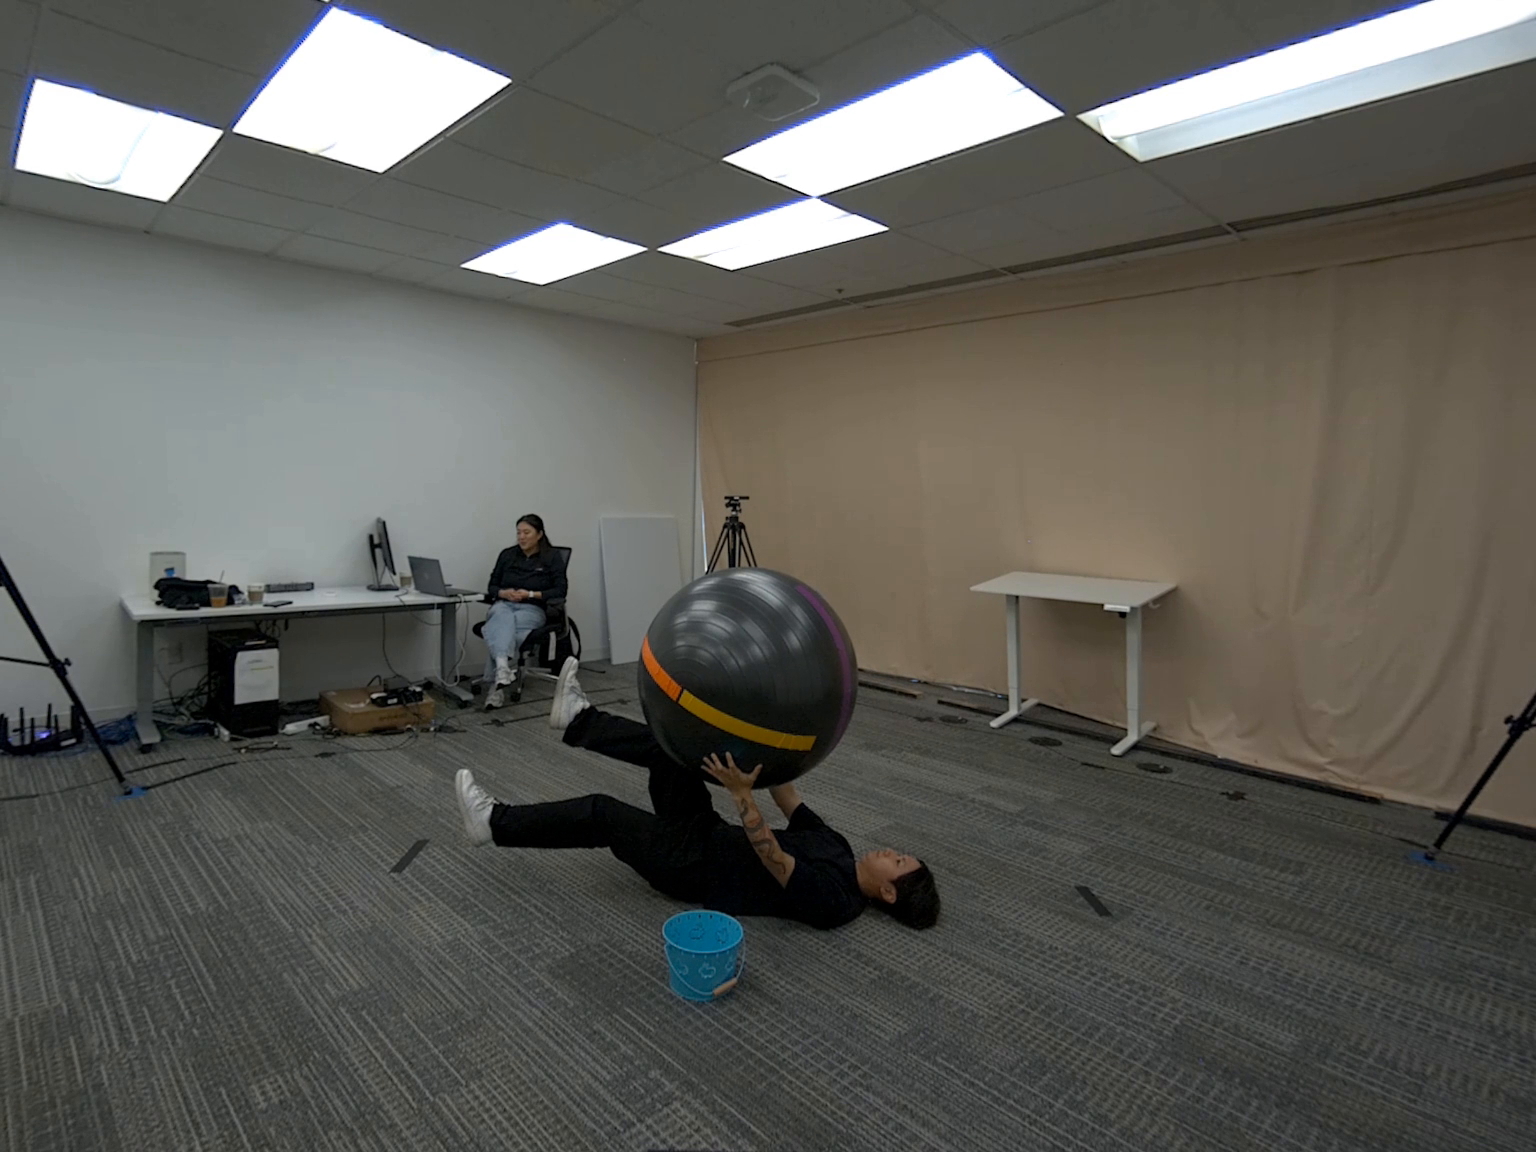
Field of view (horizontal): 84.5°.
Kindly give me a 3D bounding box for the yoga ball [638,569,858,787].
[{"bbox_3d":[-0.071,0.355,2.924,0.757,0.756,0.761,1,4,-1],"label":"yoga ball"}]
